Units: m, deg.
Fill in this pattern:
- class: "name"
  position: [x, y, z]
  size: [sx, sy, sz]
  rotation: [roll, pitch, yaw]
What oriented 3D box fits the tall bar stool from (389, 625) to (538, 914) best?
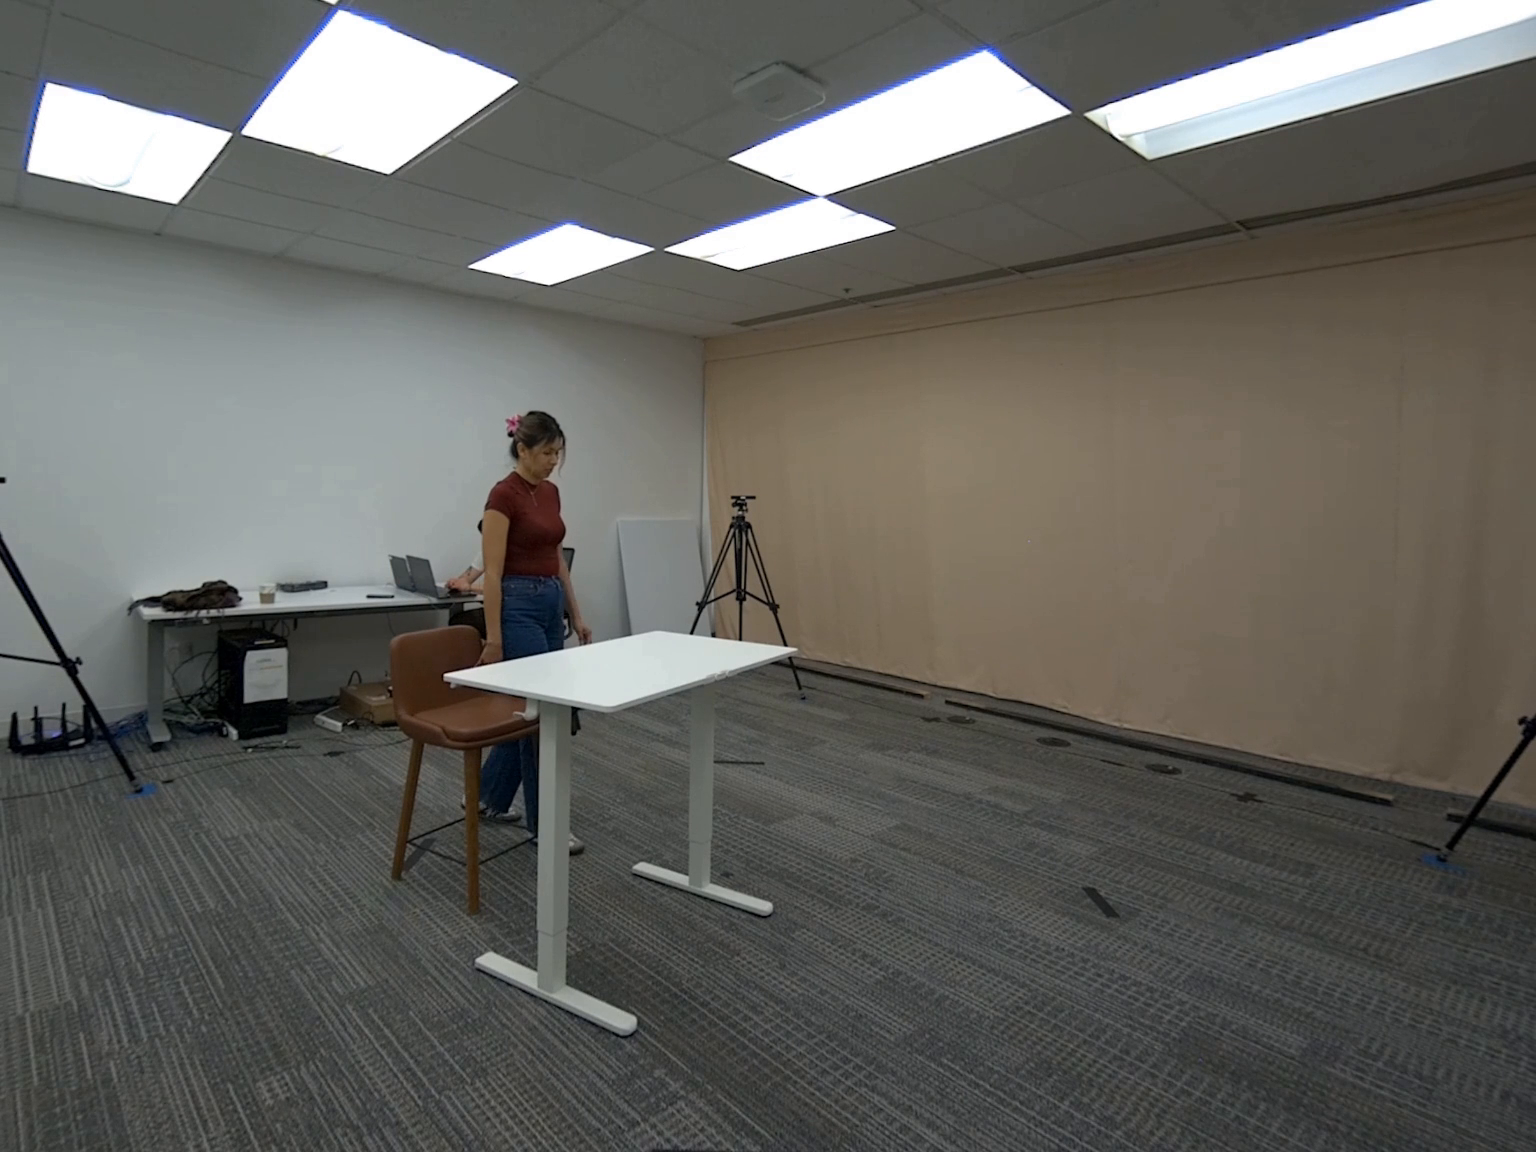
- class: "tall bar stool"
  position: [-1.067, 0.658, 3.019]
  size: [0.478, 0.887, 0.448]
  rotation: [2, 4, 30]
